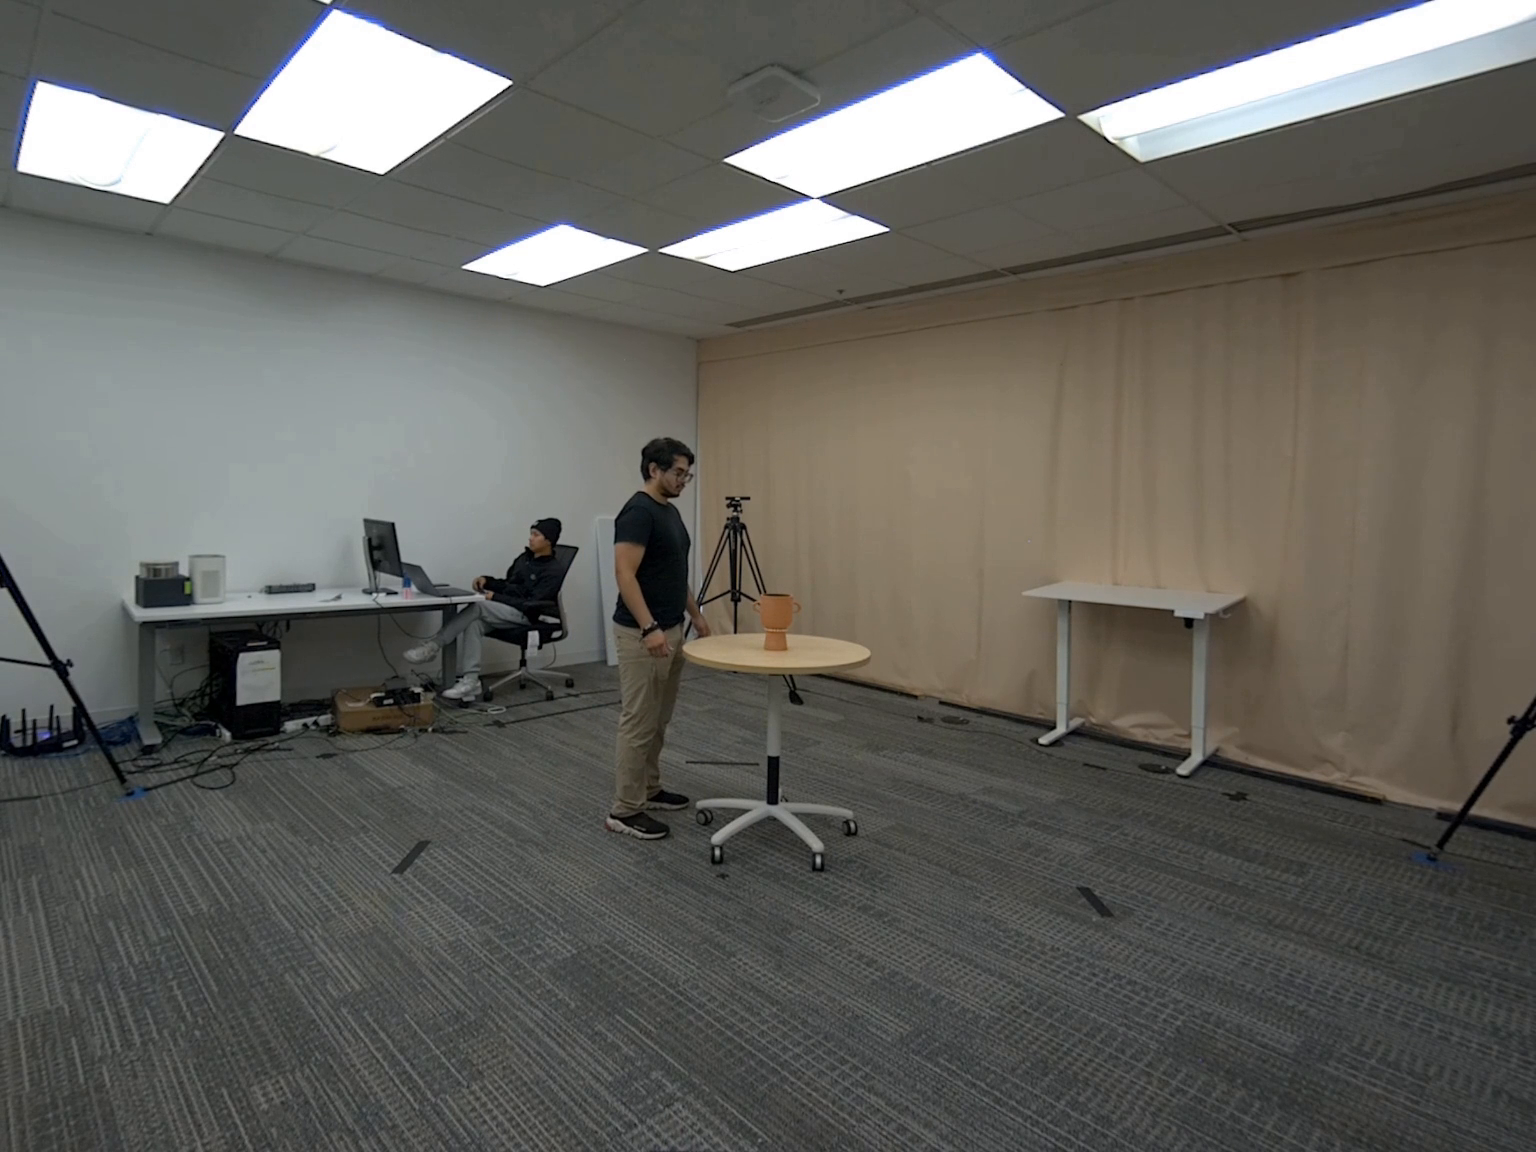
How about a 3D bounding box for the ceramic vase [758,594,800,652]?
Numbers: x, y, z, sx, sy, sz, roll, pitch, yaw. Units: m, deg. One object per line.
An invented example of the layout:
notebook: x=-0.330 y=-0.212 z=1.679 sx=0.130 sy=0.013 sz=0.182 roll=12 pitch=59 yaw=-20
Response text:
ceramic vase: x=0.024 y=0.189 z=3.430 sx=0.163 sy=0.219 sz=0.132 roll=7 pitch=7 yaw=34
